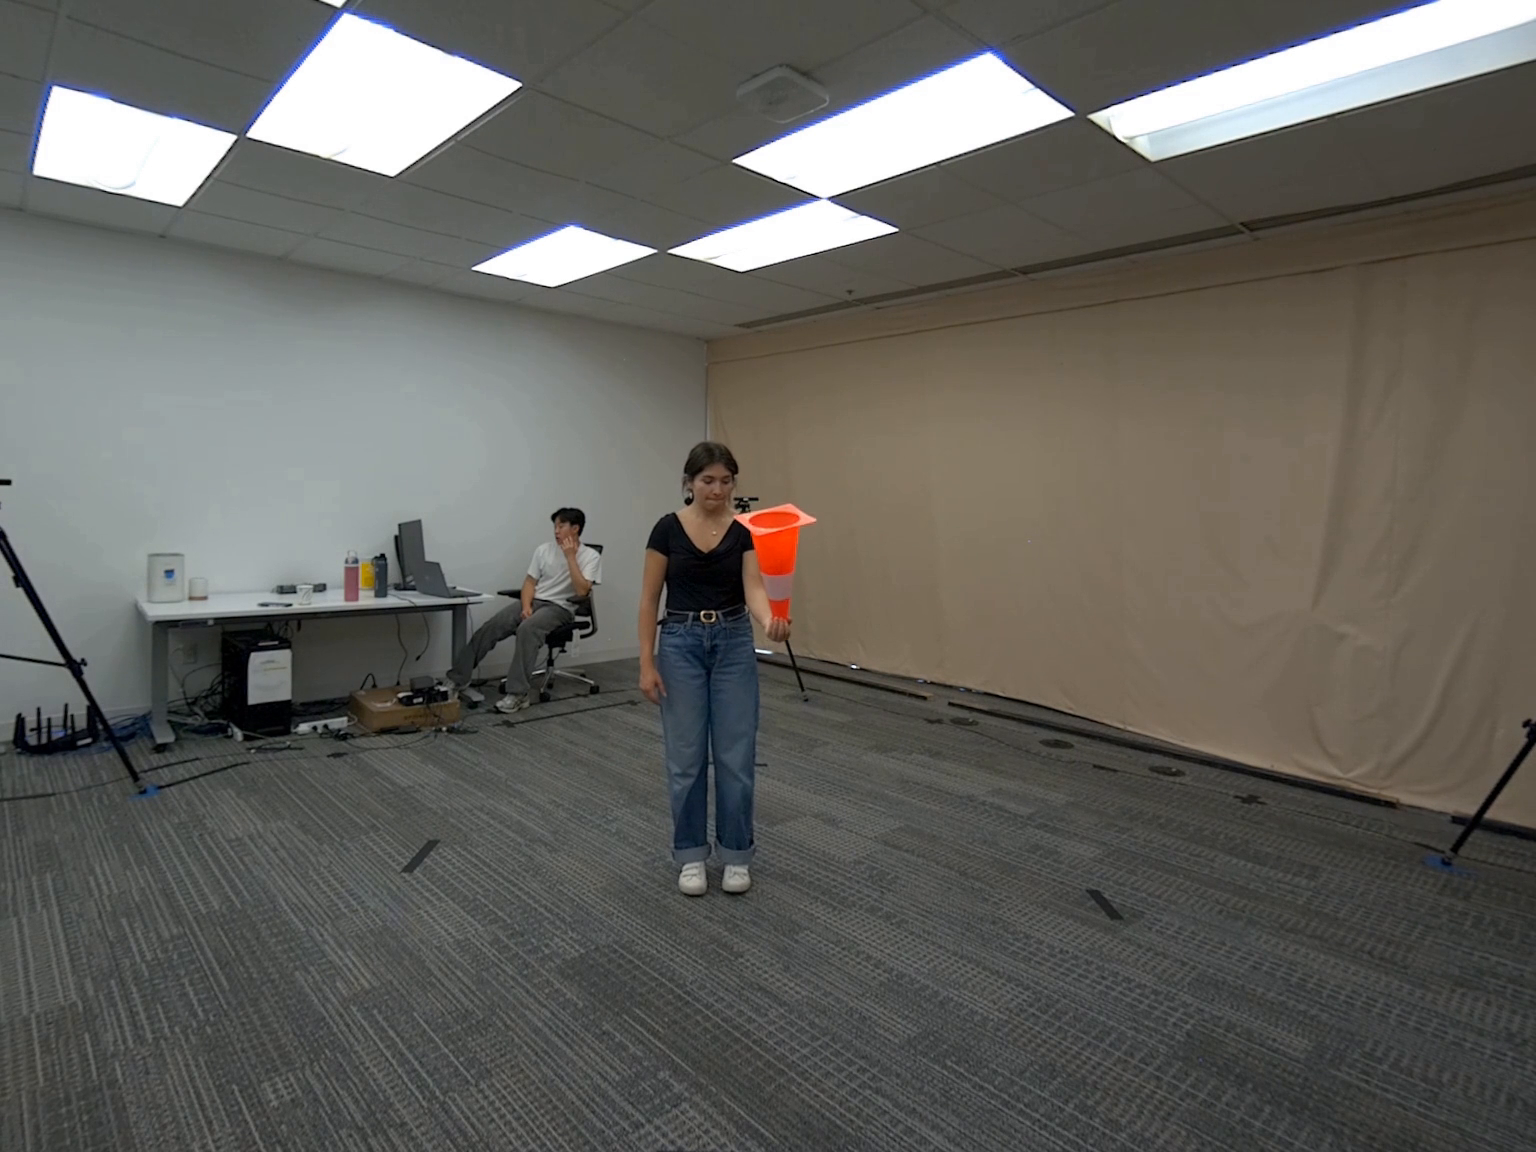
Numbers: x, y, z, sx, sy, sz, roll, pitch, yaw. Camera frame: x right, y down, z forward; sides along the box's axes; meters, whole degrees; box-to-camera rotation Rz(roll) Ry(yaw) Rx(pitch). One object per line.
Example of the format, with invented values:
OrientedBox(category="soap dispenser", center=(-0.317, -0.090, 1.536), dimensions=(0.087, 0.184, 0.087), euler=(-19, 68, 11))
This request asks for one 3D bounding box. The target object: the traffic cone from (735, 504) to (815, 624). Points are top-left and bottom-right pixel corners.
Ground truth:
OrientedBox(category="traffic cone", center=(0.023, 0.002, 2.599), dimensions=(0.203, 0.378, 0.208), euler=(-10, 20, -17))
